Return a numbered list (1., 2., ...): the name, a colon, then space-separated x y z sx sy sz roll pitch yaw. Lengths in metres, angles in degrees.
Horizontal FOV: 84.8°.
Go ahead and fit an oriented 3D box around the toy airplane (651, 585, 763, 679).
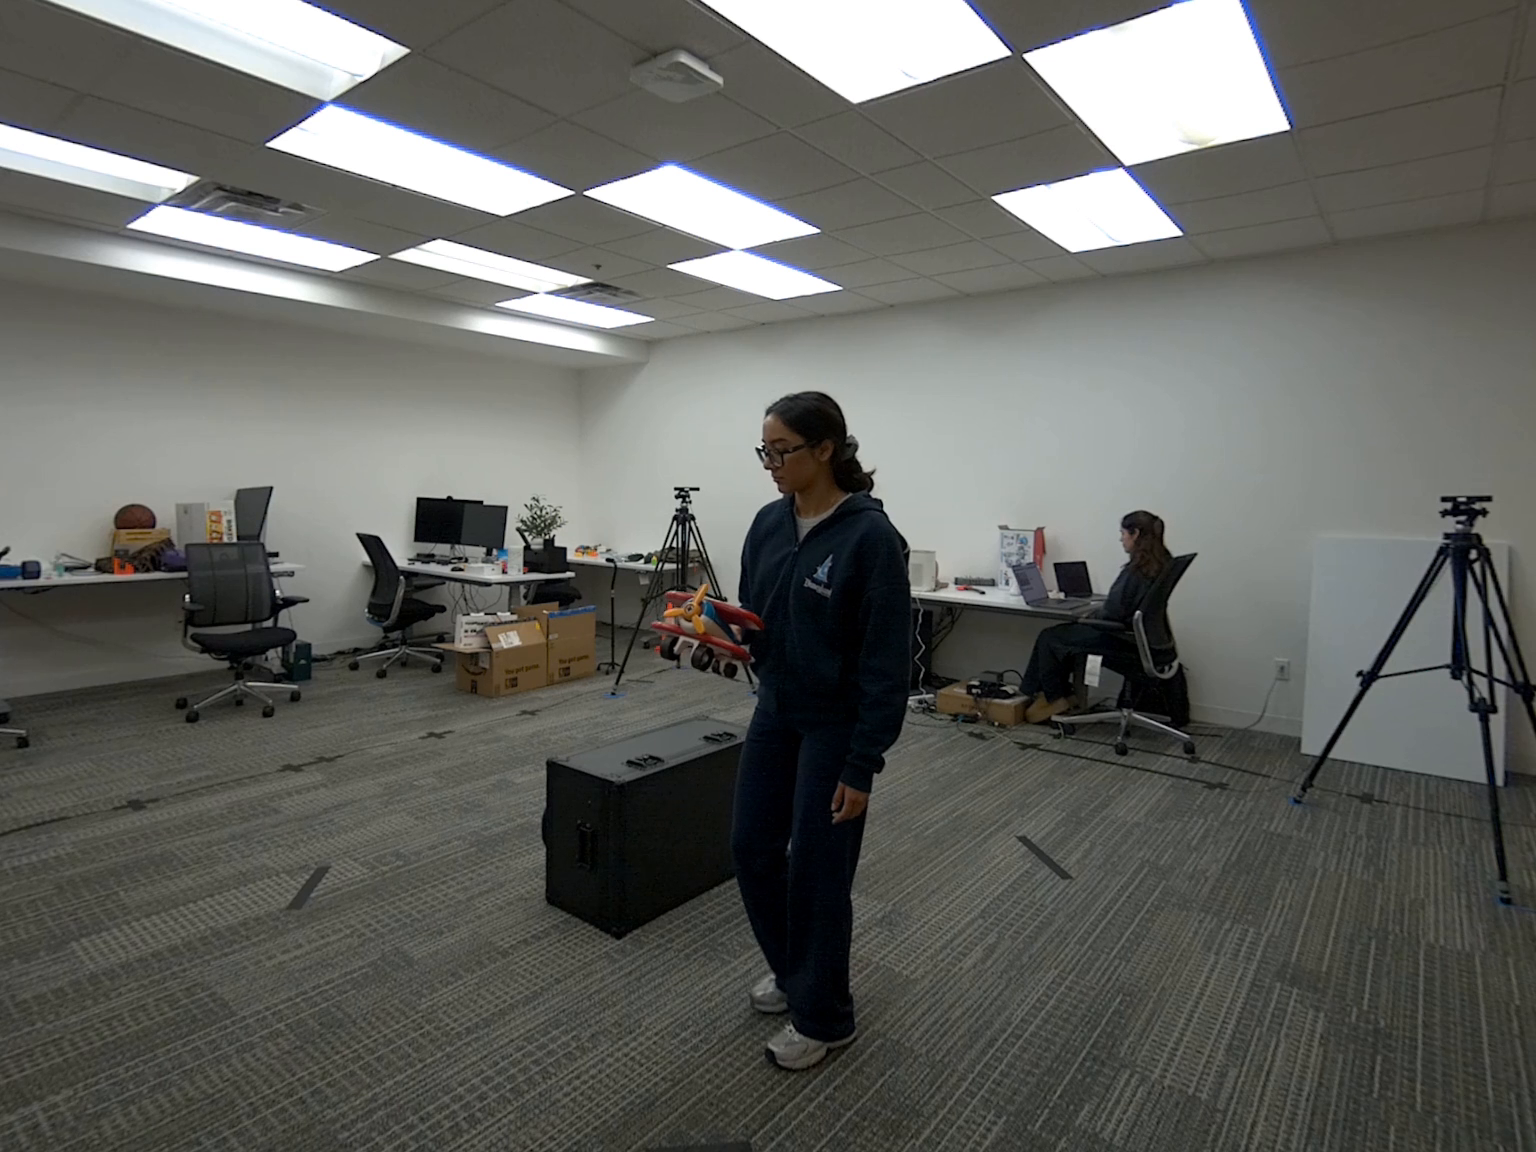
1. toy airplane: -0.150 0.131 1.959 0.252 0.157 0.257 16 -6 2
